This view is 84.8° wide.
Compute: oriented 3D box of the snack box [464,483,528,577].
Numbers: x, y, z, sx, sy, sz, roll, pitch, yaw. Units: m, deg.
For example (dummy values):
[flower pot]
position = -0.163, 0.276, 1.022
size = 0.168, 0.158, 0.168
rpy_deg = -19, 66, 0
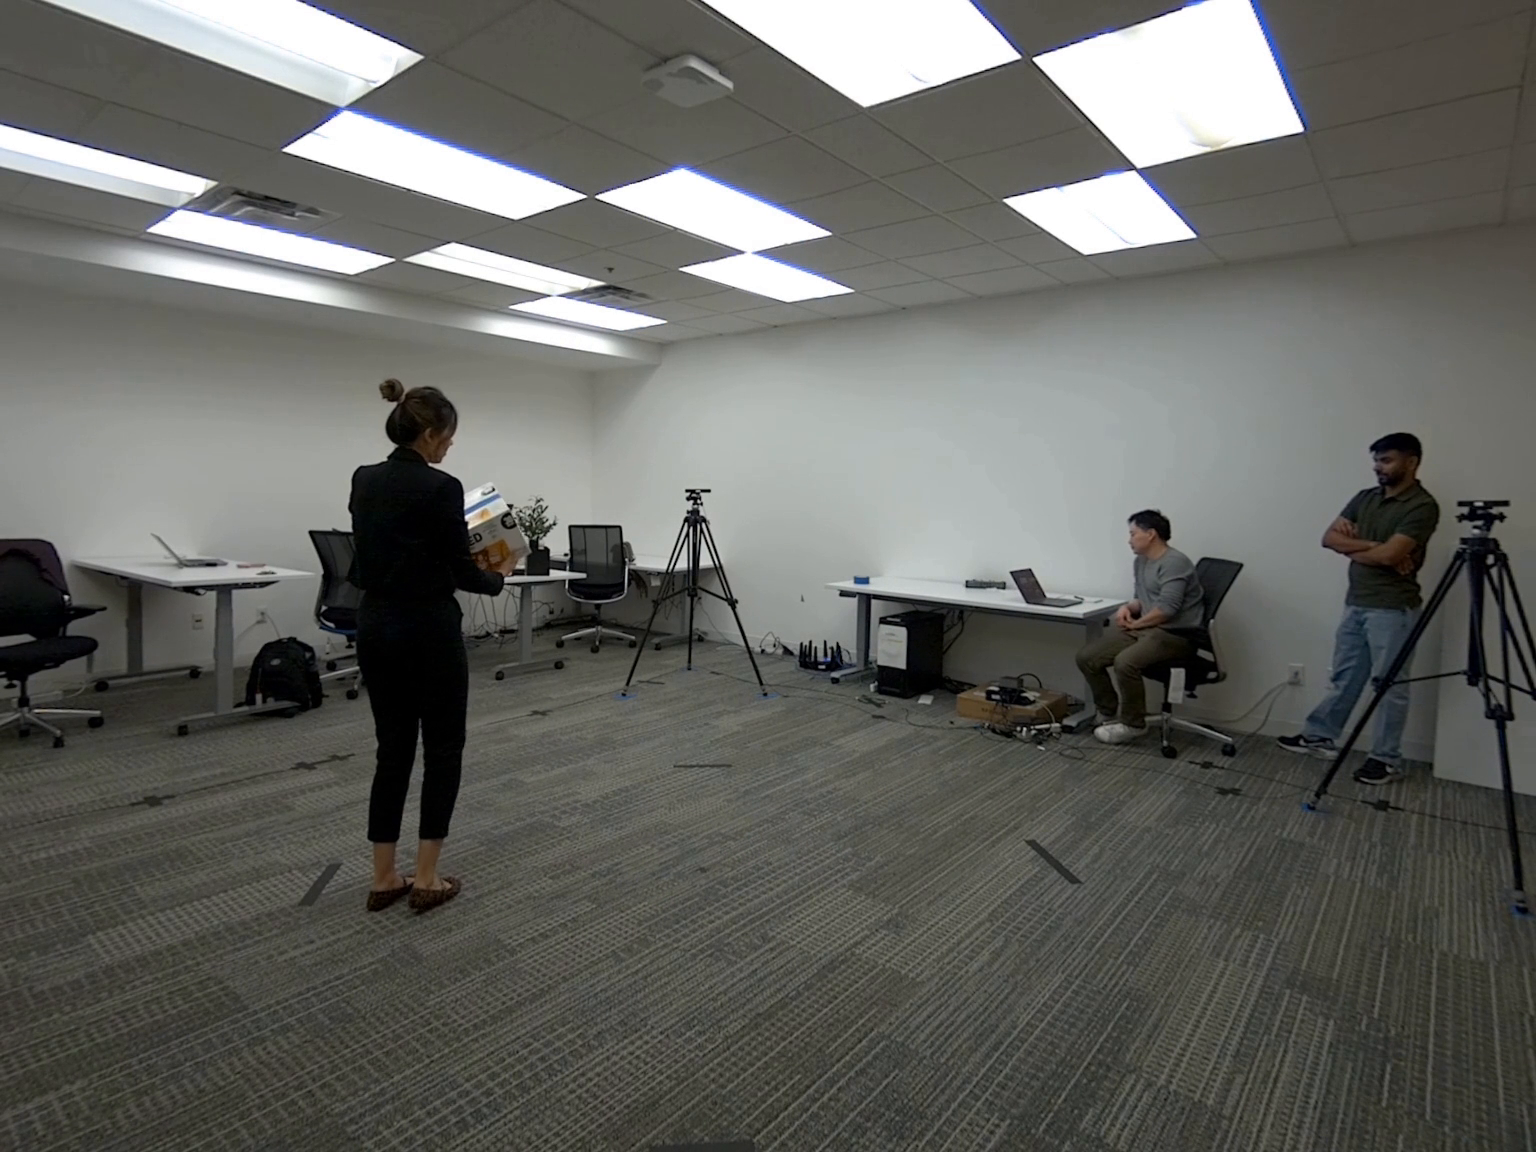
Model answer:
[snack box]
position = -1.157, -0.132, 3.204
size = 0.402, 0.199, 0.354
rpy_deg = -29, 33, -15
